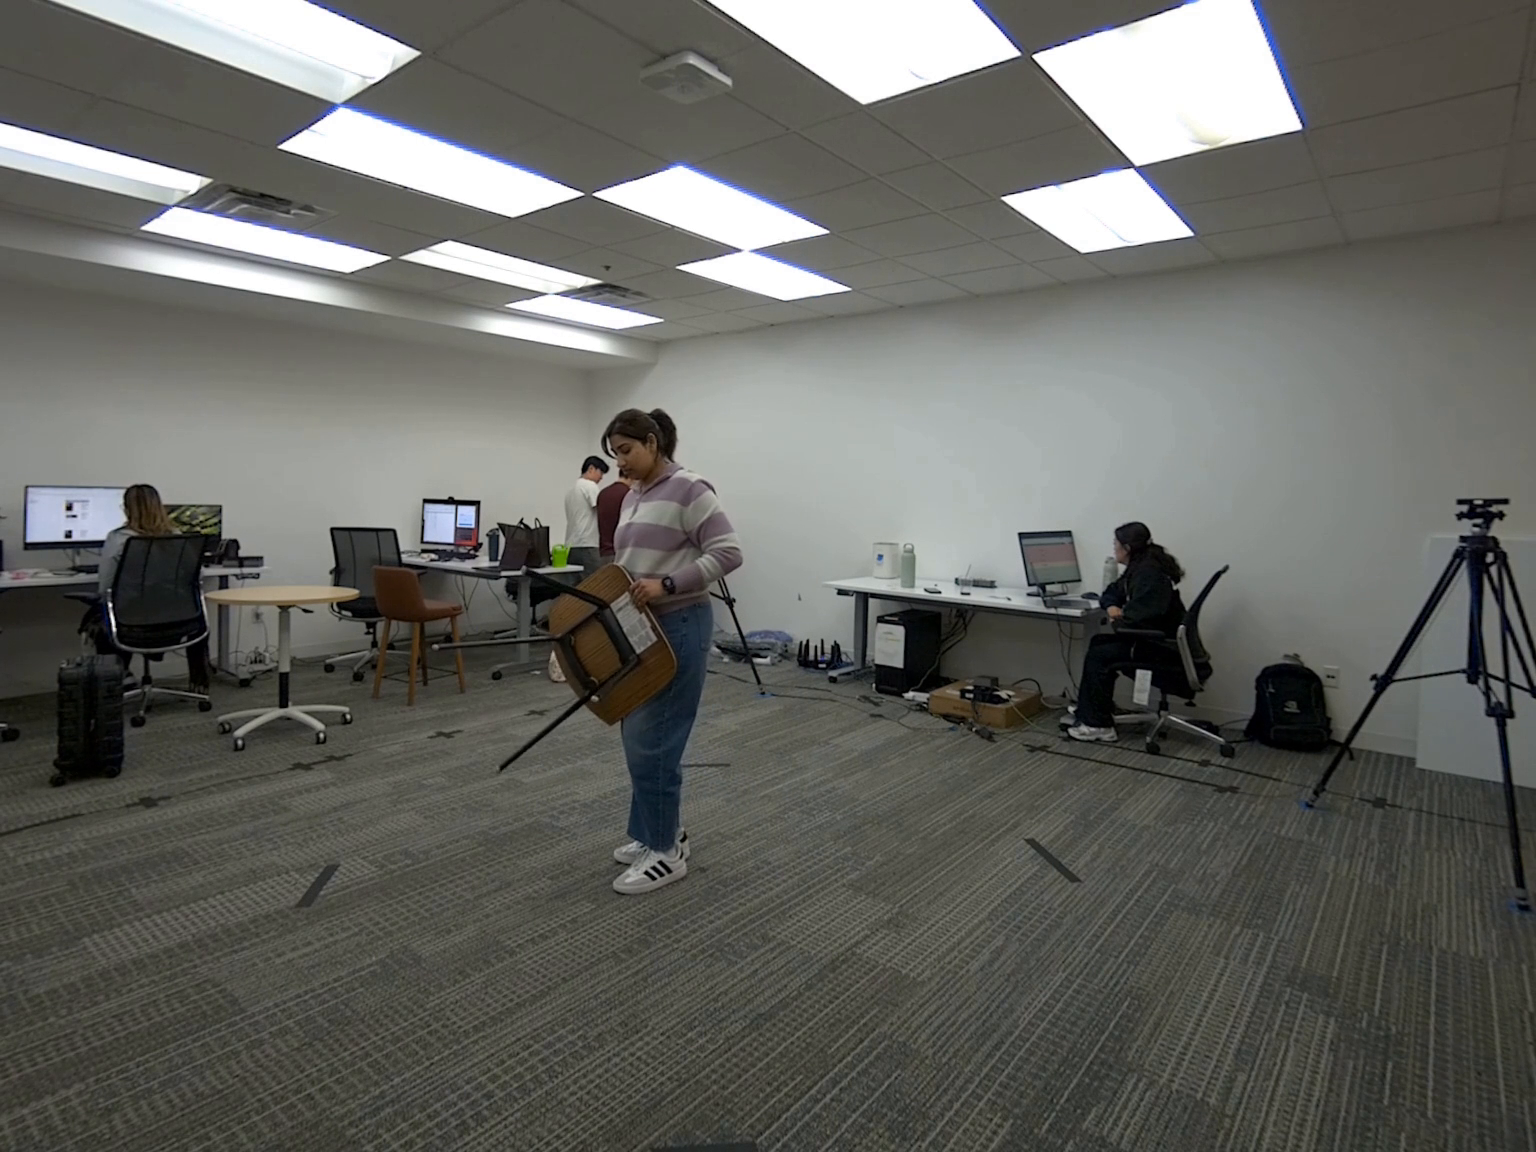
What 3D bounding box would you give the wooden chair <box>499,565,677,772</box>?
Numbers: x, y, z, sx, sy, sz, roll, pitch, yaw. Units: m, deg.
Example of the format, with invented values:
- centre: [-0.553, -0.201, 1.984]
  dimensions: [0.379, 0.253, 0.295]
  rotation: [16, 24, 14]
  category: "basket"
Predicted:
- centre: [-0.604, 0.256, 2.901]
  dimensions: [0.525, 0.487, 0.857]
  rotation: [-37, -12, 19]
  category: "wooden chair"
